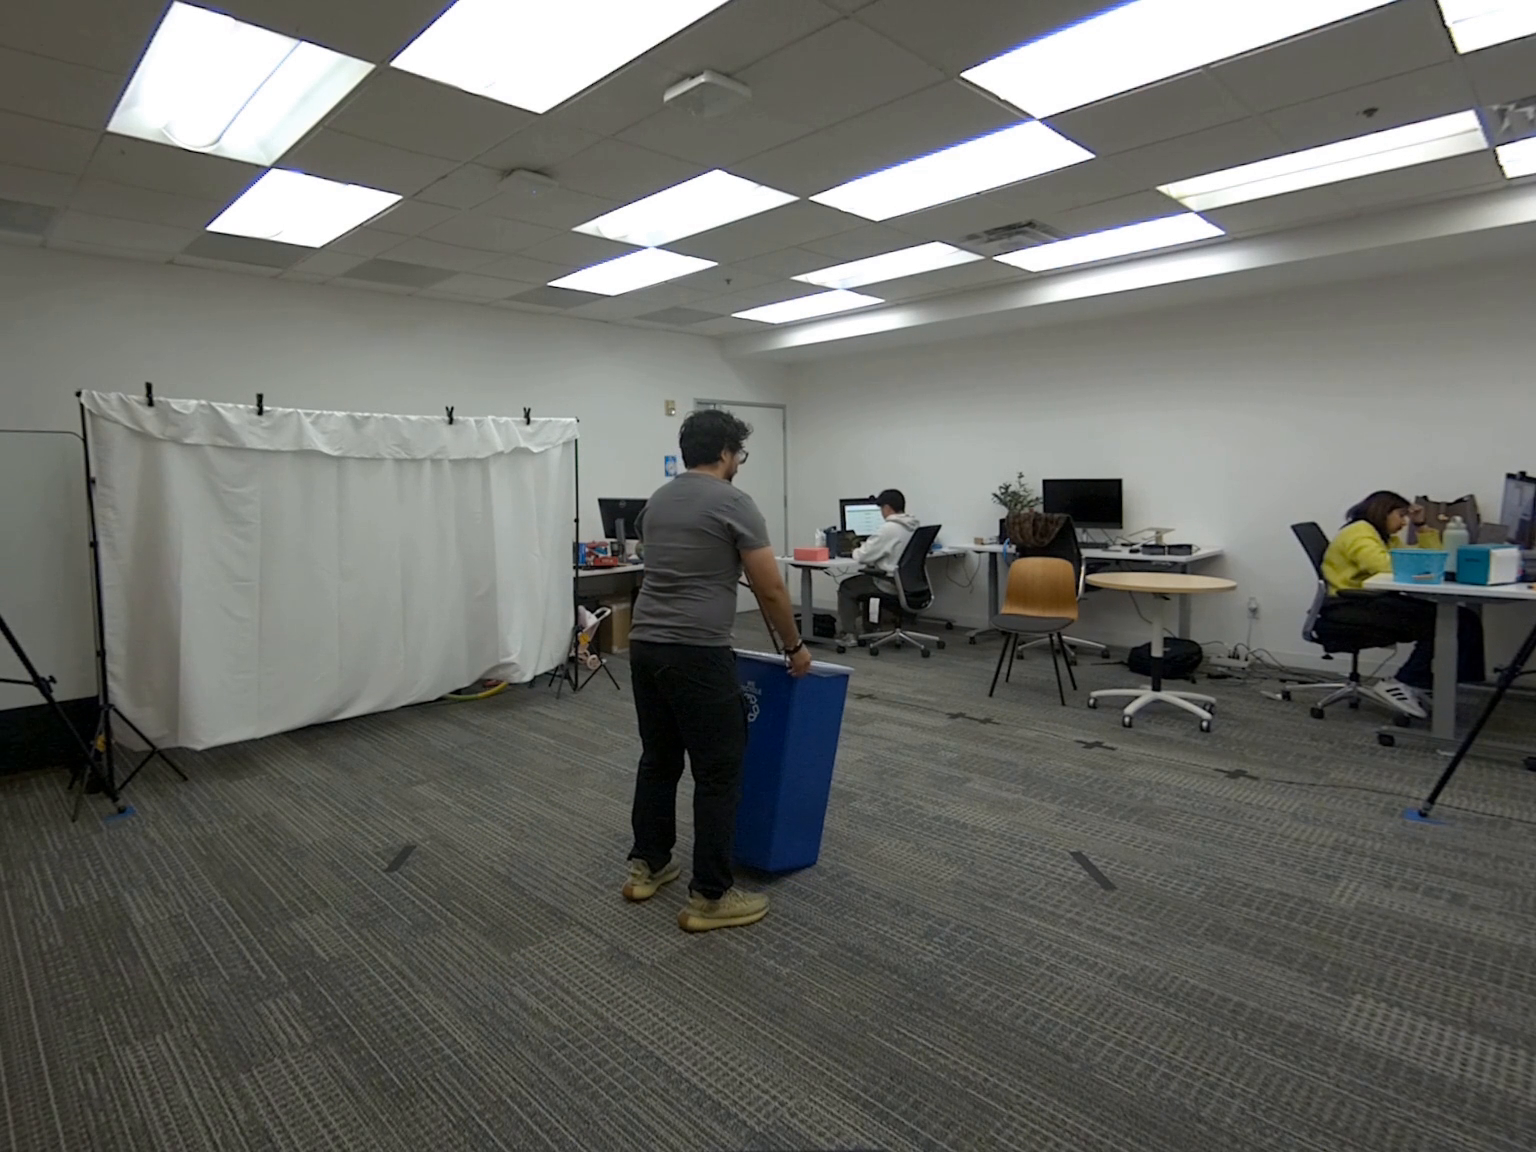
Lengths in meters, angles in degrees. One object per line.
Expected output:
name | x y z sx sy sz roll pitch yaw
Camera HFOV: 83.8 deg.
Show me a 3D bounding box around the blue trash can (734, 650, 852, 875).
blue trash can | 0.041 0.658 3.129 0.385 0.717 0.365 3 -8 40
